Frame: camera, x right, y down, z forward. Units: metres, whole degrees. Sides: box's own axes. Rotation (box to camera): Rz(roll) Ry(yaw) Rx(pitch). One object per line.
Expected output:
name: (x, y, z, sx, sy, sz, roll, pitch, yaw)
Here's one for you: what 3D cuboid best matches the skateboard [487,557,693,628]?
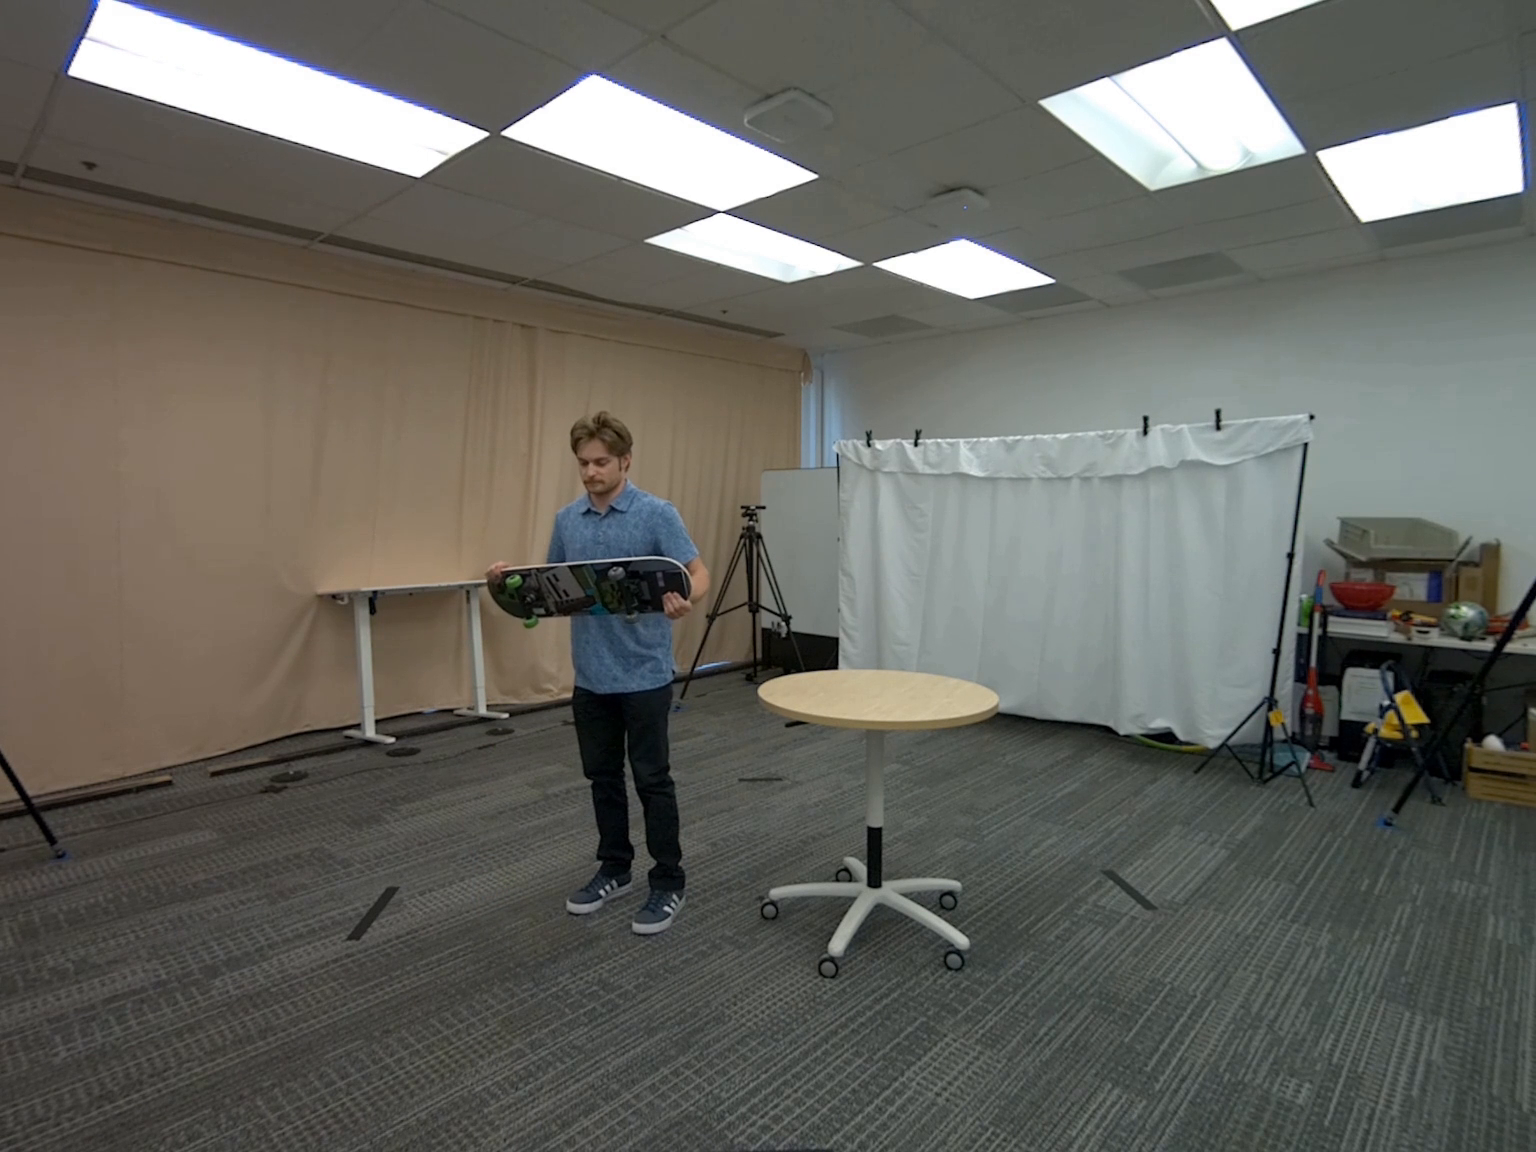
skateboard: (-0.608, 0.059, 2.688, 0.805, 0.189, 0.110, -4, 28, 27)
